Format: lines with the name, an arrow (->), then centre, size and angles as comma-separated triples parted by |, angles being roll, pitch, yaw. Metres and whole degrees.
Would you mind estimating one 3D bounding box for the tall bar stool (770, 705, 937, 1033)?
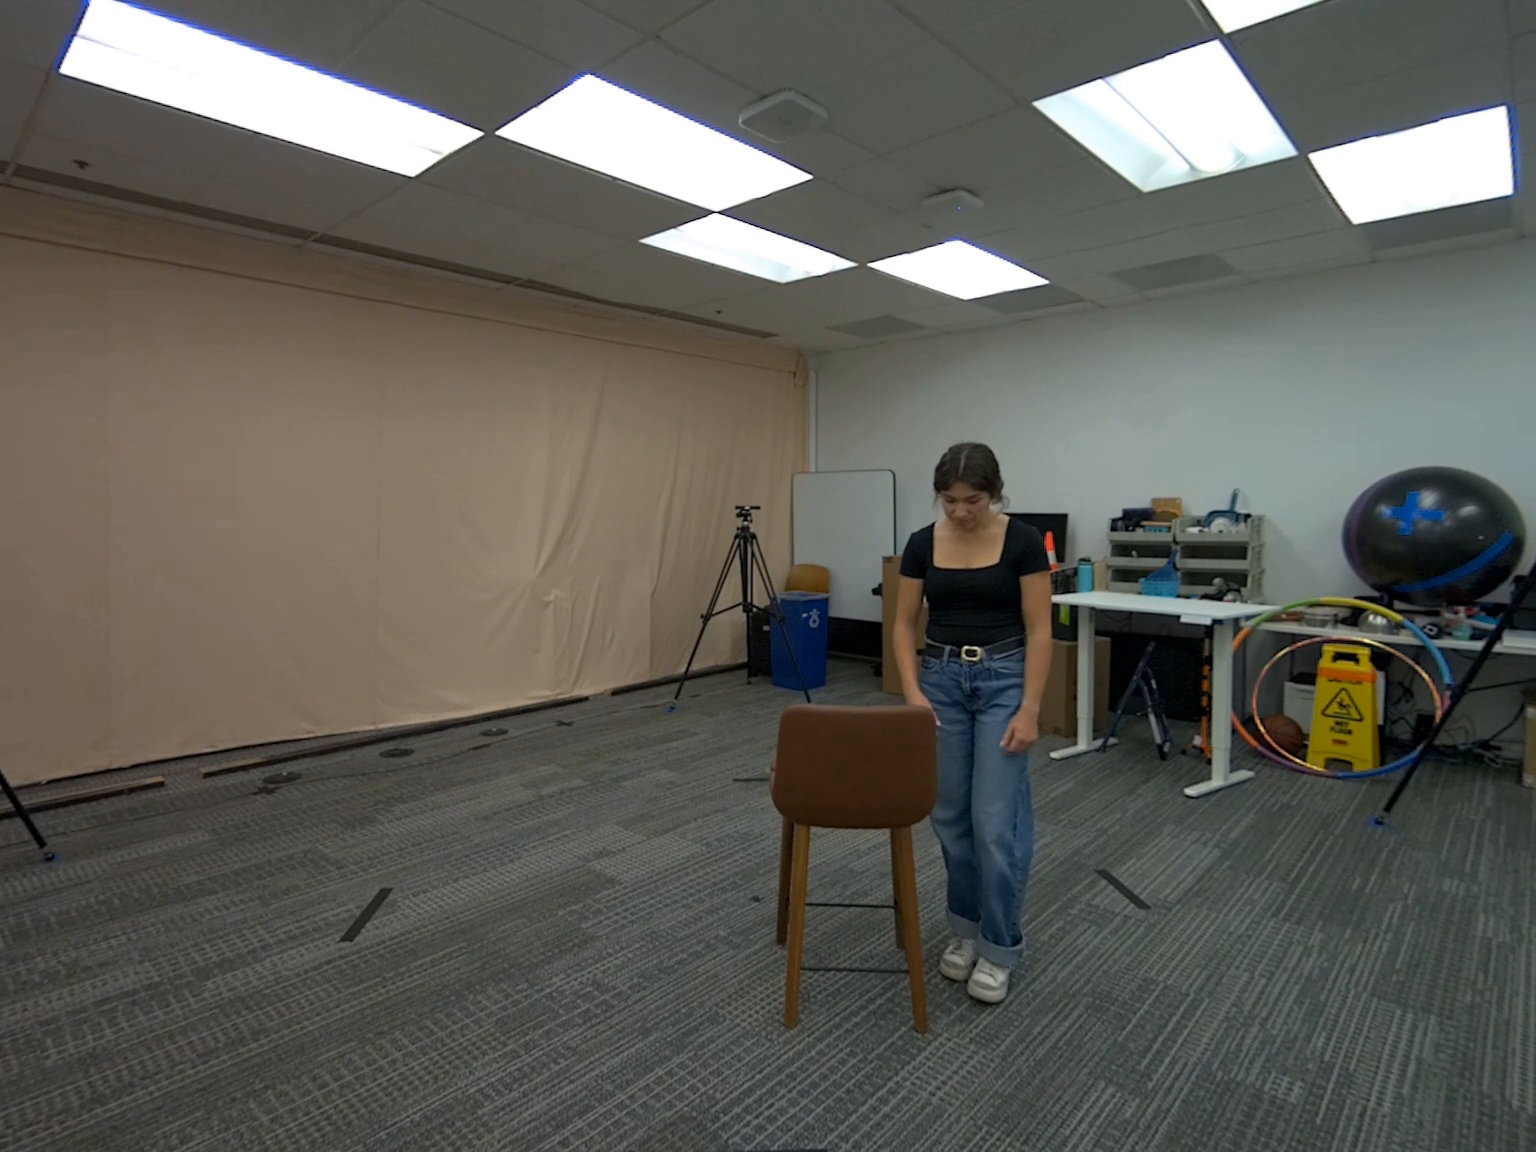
tall bar stool -> 0.240, 0.761, 2.427 | 0.457, 0.887, 0.468 | 1, 4, 1
